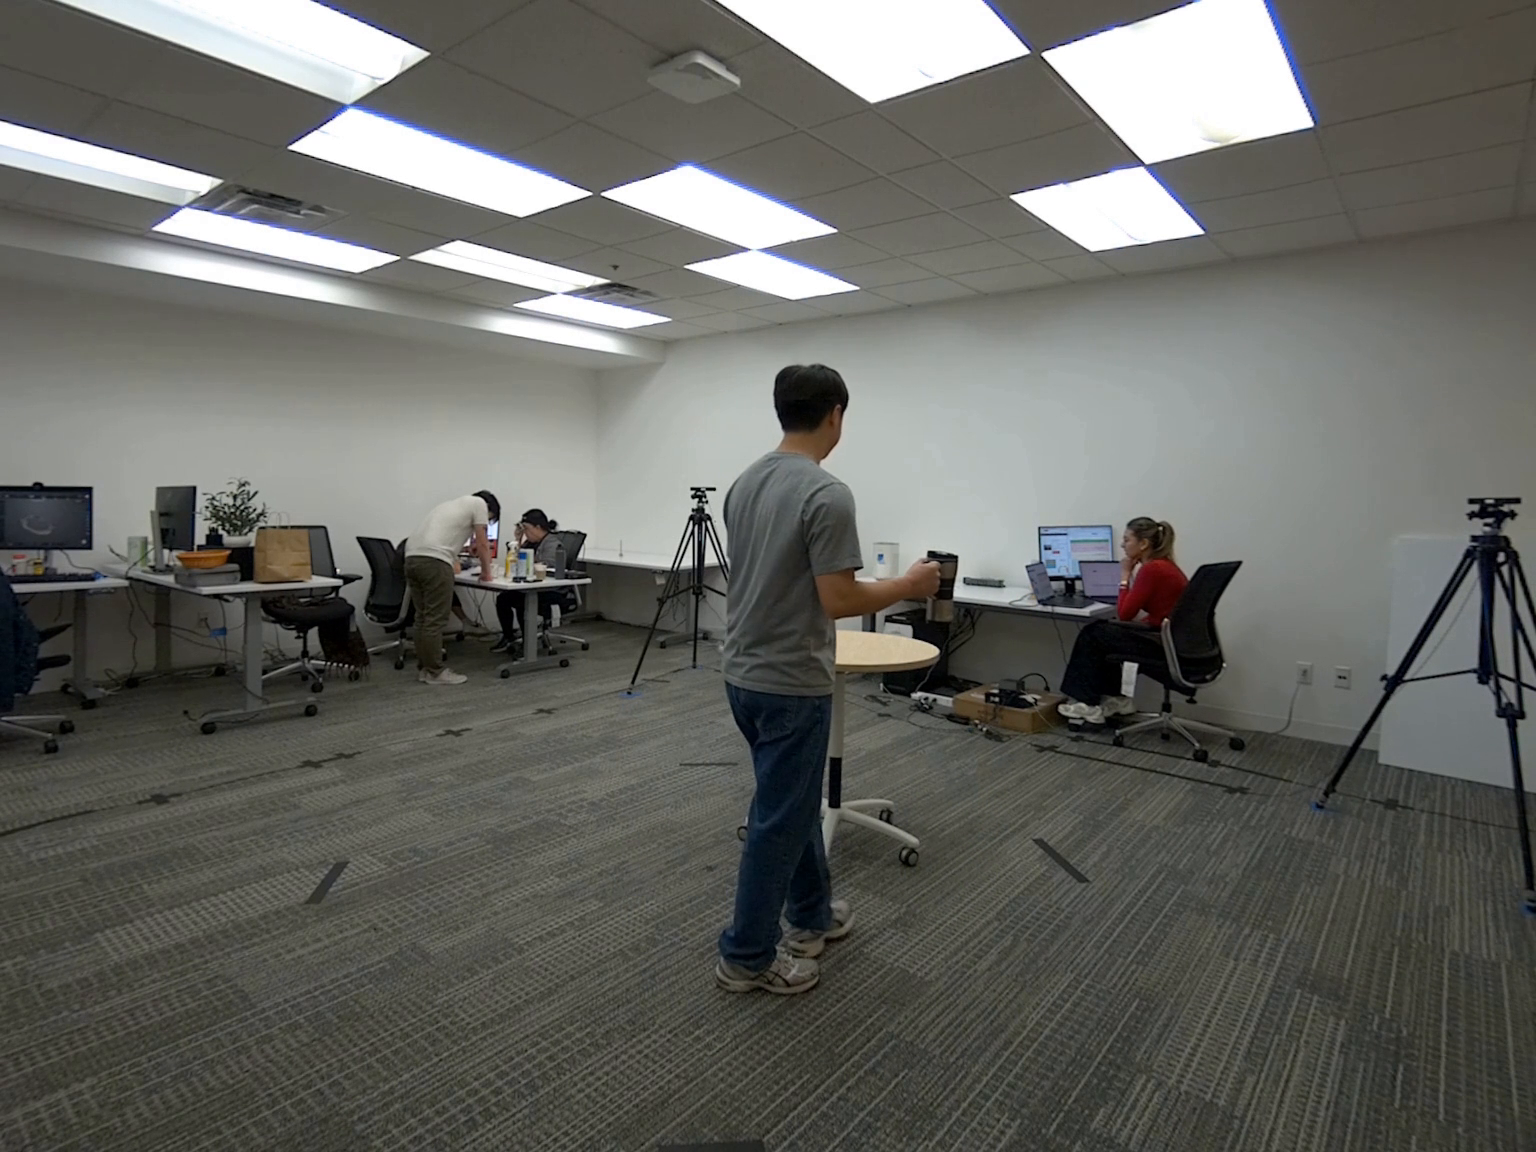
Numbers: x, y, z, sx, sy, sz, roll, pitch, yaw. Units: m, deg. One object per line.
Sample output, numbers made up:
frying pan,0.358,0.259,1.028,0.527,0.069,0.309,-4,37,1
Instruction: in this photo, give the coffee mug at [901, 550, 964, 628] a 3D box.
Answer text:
coffee mug,0.462,0.035,2.369,0.118,0.202,0.090,4,4,-28
